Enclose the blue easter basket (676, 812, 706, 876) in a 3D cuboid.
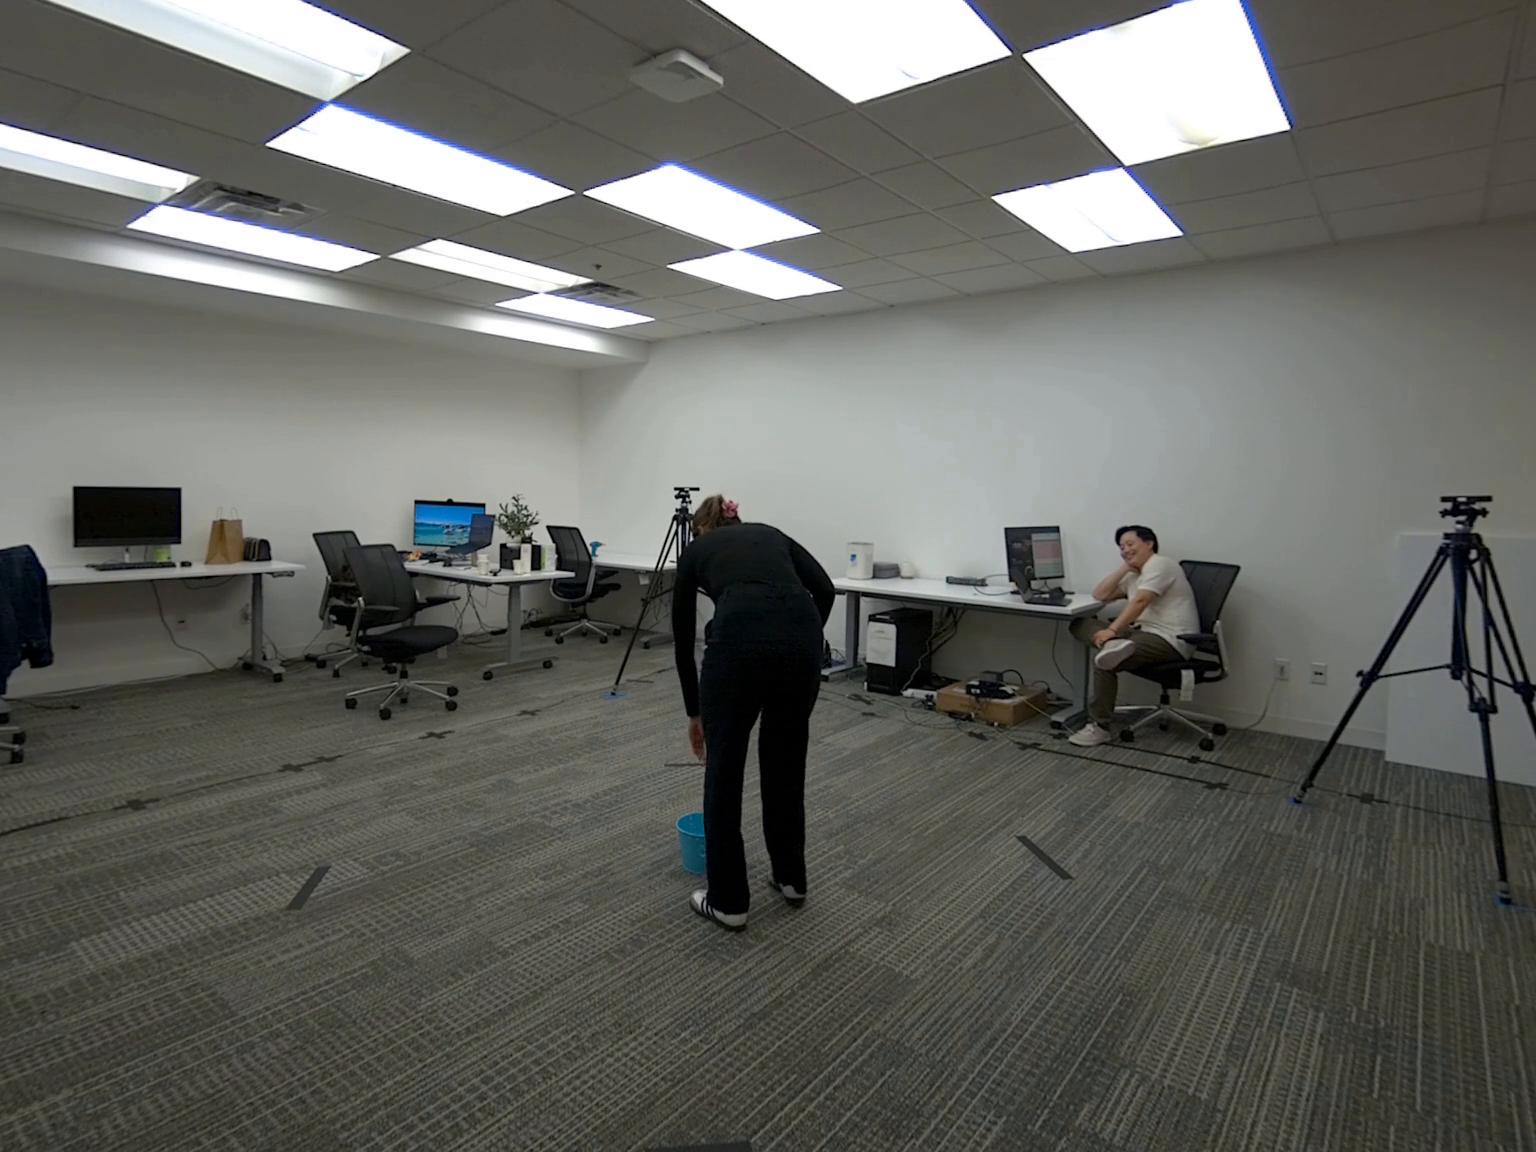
[{"bbox_3d":[-0.225,0.980,3.145,0.243,0.155,0.245,1,5,-2],"label":"blue easter basket"}]
